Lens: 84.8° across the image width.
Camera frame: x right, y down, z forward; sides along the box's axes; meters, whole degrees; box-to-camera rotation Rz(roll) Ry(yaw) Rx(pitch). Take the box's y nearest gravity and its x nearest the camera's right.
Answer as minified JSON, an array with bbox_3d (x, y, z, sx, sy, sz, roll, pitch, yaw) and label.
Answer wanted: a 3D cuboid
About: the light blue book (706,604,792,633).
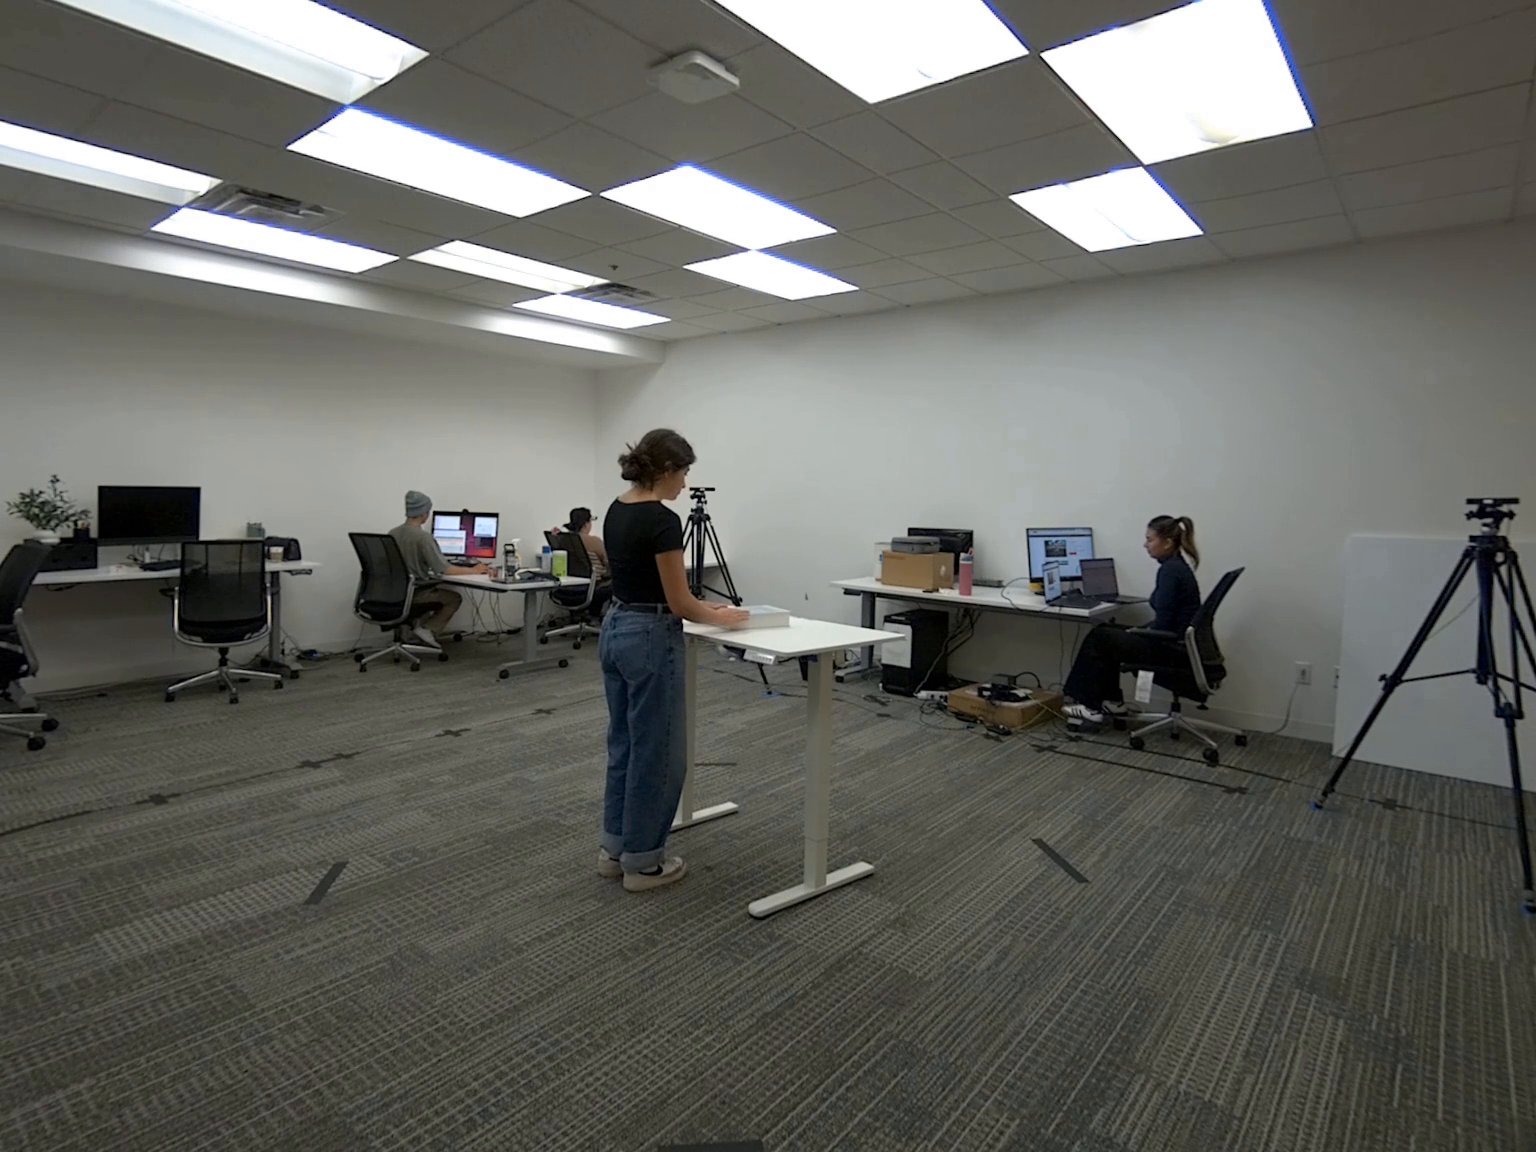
[{"bbox_3d":[-0.076,0.155,3.170,0.254,0.059,0.197,-4,6,-29],"label":"light blue book"}]
